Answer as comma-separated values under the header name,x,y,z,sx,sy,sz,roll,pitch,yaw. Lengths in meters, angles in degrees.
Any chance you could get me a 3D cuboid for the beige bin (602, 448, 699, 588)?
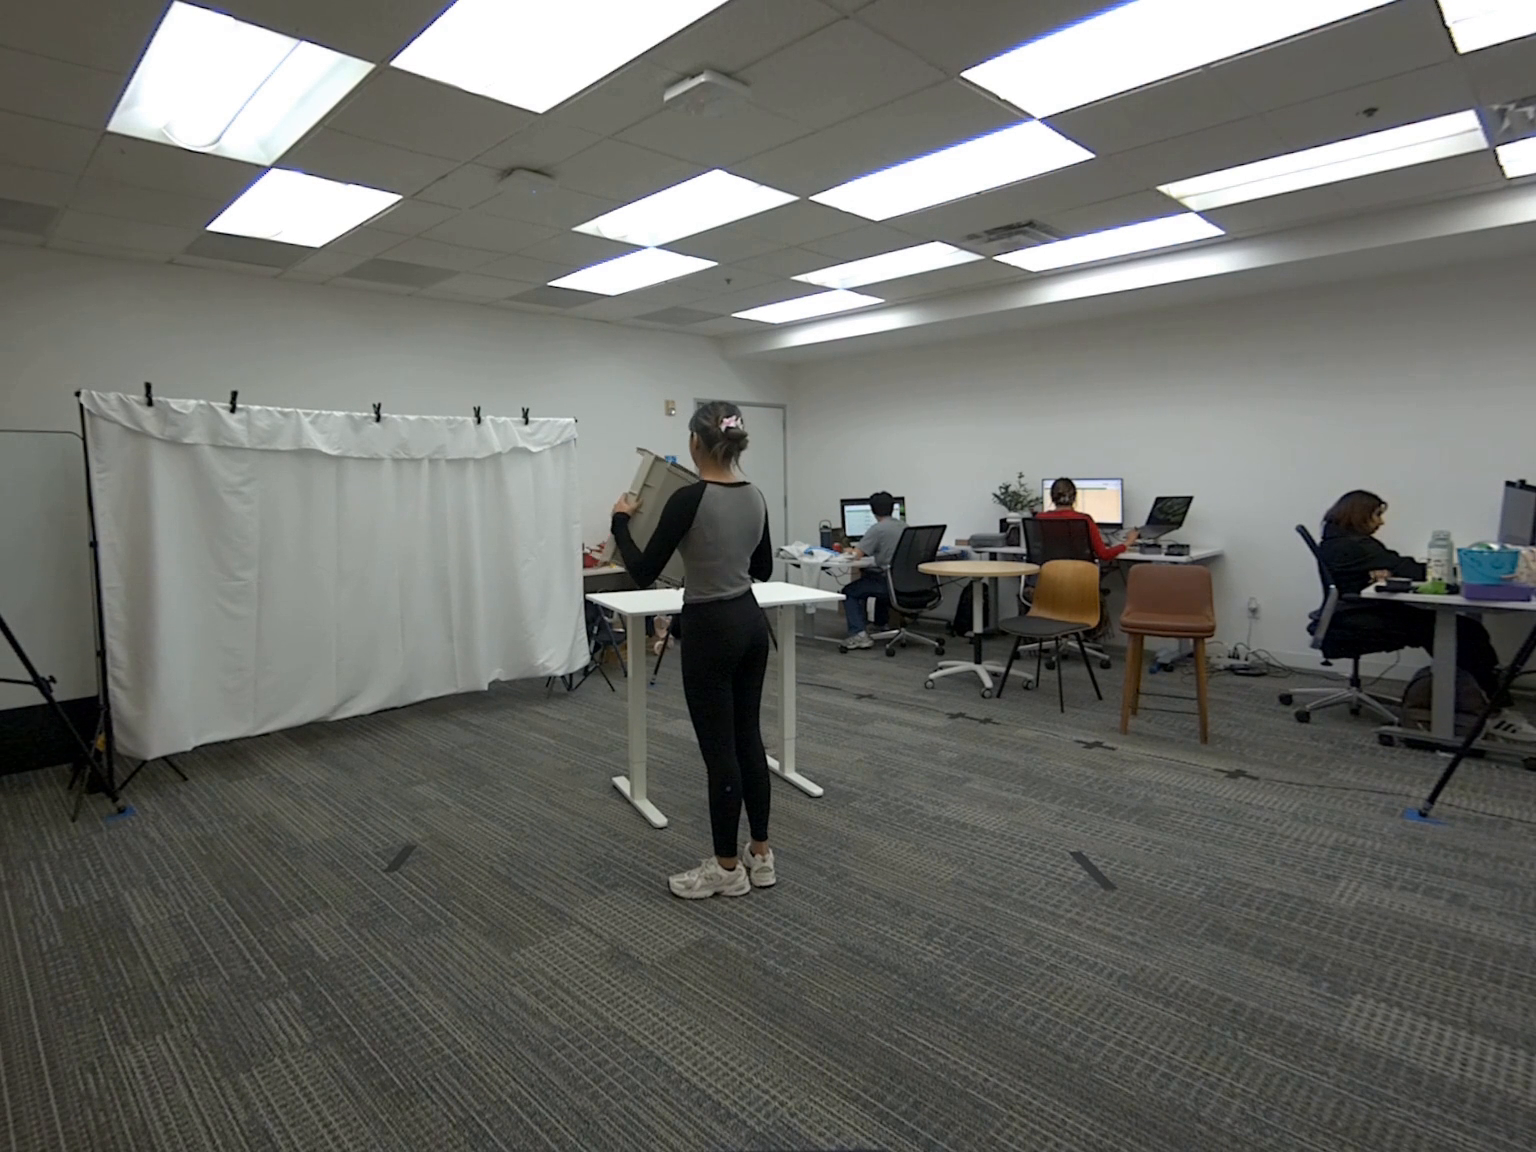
name,x,y,z,sx,sy,sz,roll,pitch,yaw
beige bin,-0.407,-0.205,3.106,0.196,0.422,0.363,21,-2,38
